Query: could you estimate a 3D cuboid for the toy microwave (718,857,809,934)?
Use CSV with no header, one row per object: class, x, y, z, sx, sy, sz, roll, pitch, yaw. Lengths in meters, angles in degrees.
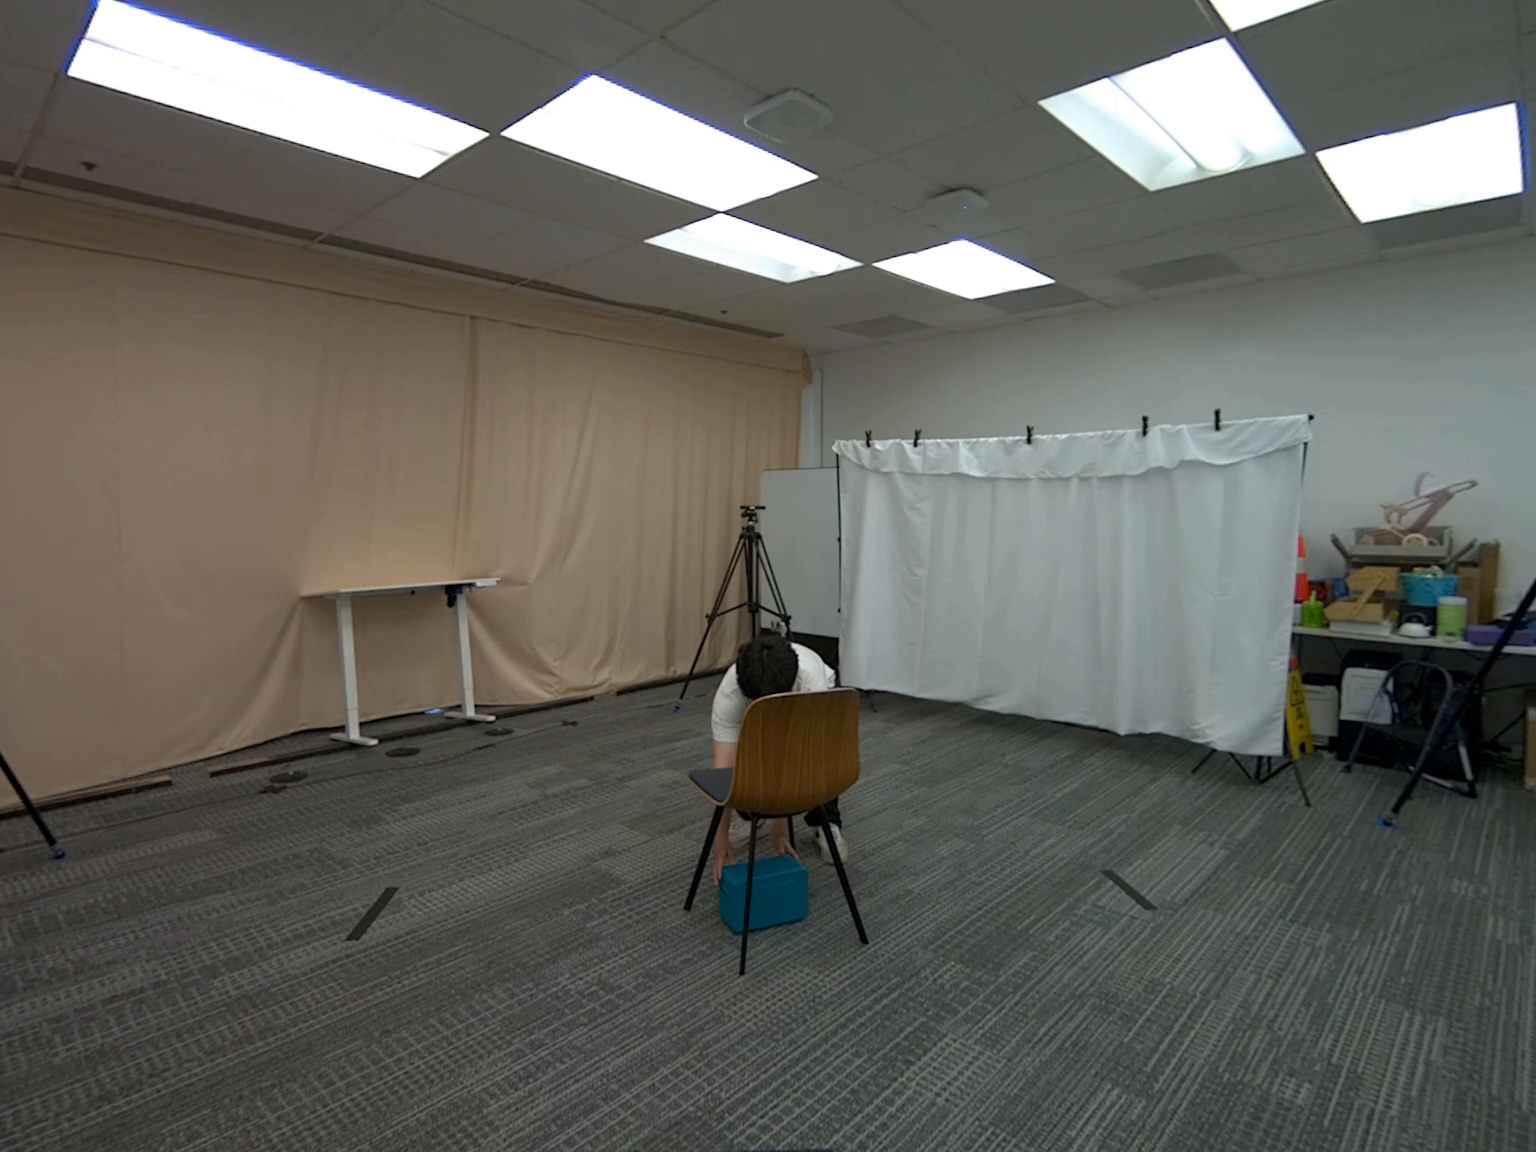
toy microwave,-0.020,1.062,2.835,0.279,0.184,0.156,-2,4,-24
